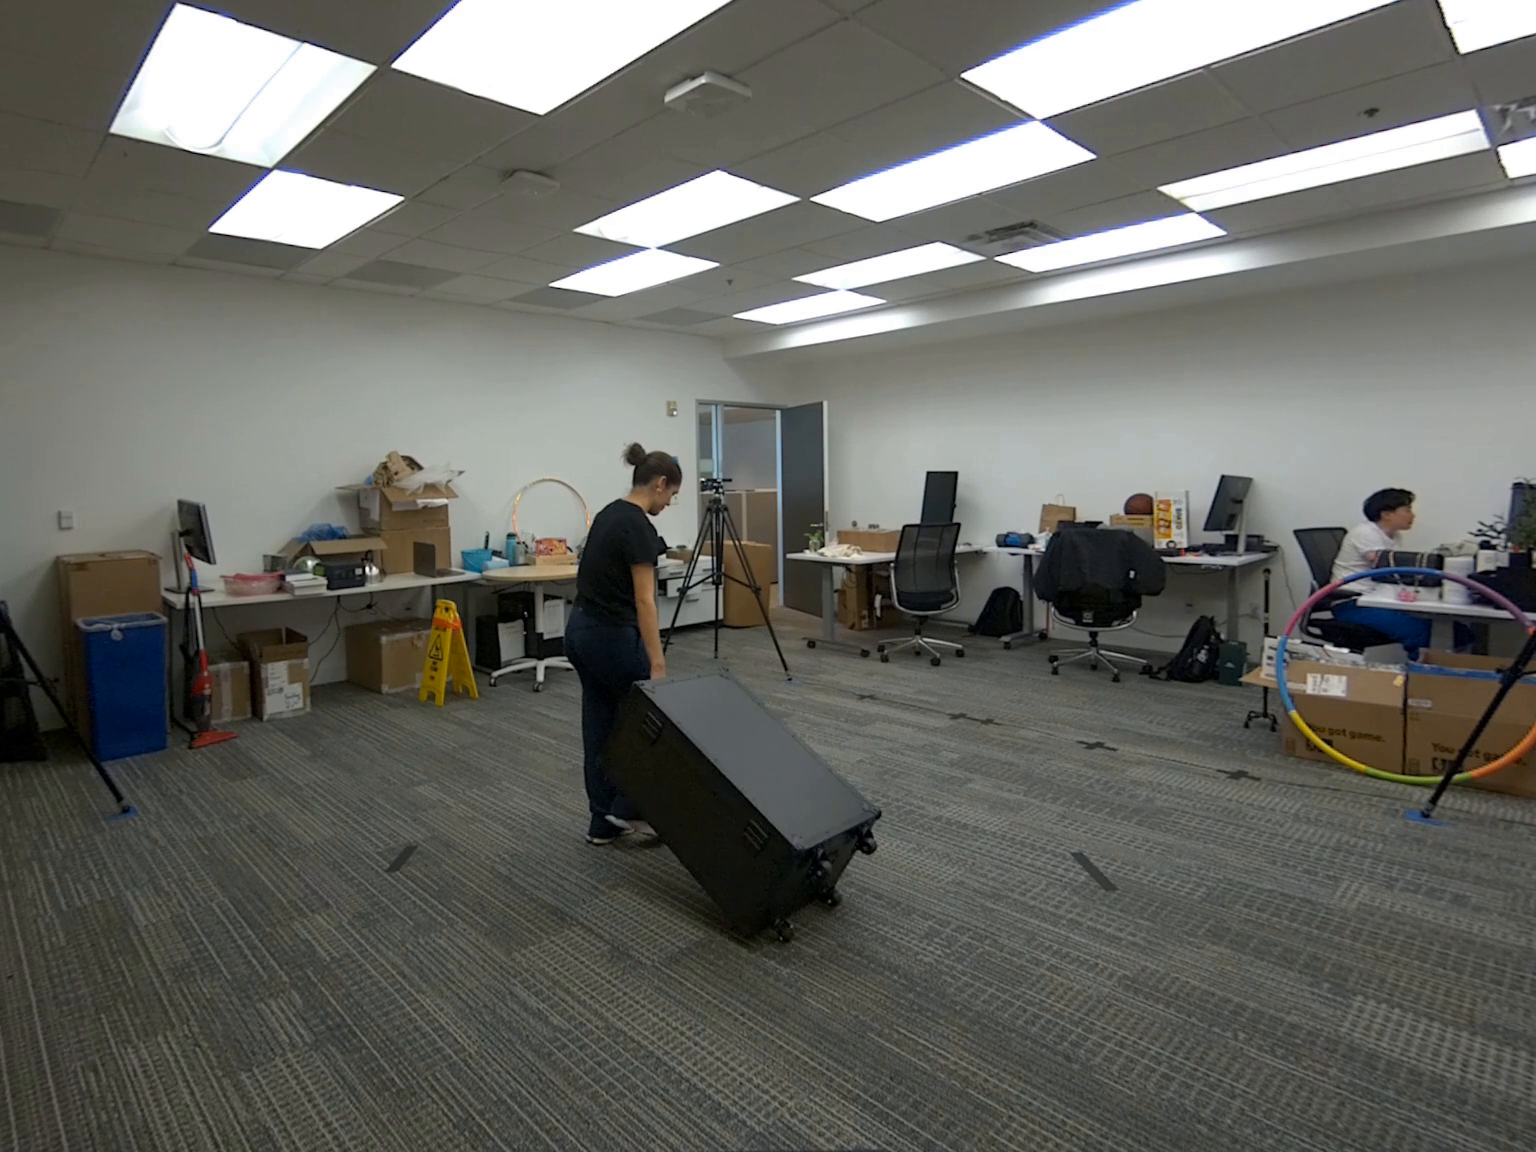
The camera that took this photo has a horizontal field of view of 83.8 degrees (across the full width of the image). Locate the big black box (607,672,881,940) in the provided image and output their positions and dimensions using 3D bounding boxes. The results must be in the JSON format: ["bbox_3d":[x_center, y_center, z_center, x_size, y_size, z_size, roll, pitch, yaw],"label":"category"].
[{"bbox_3d":[-0.097,0.735,2.854,0.893,0.393,0.506,38,22,32],"label":"big black box"}]
